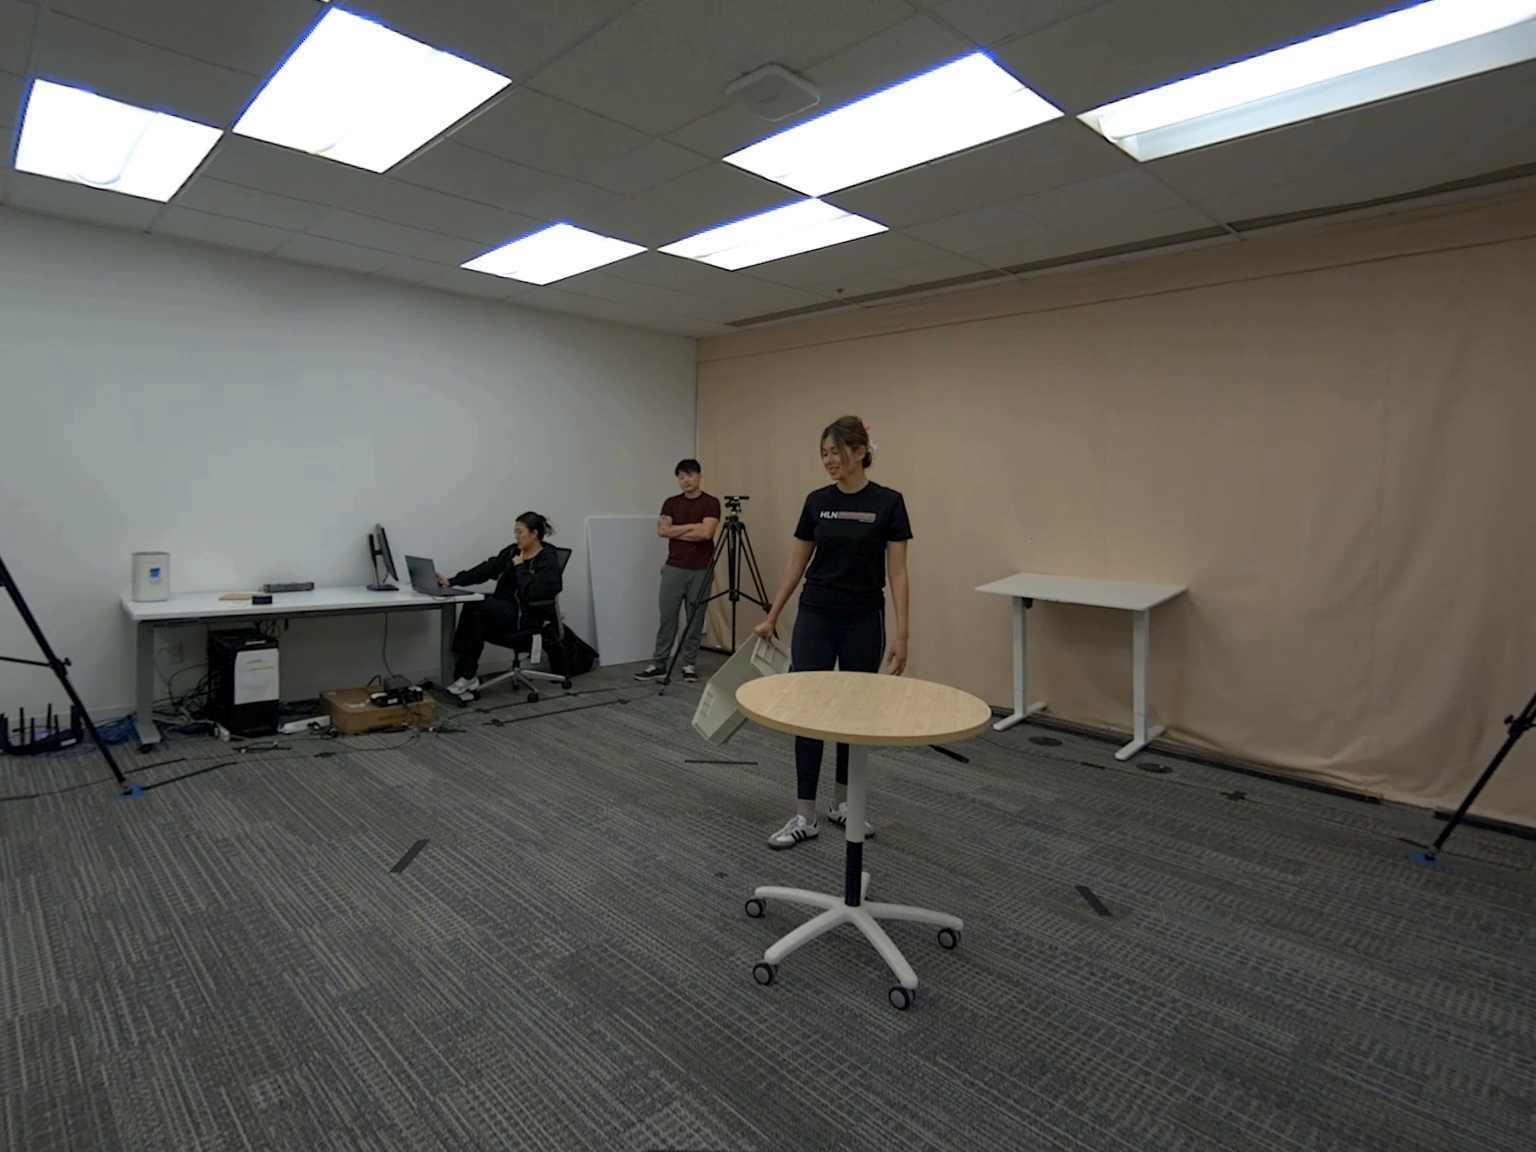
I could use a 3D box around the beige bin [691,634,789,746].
[{"bbox_3d":[-0.118,0.476,3.640,0.188,0.422,0.380,39,23,-7],"label":"beige bin"}]
